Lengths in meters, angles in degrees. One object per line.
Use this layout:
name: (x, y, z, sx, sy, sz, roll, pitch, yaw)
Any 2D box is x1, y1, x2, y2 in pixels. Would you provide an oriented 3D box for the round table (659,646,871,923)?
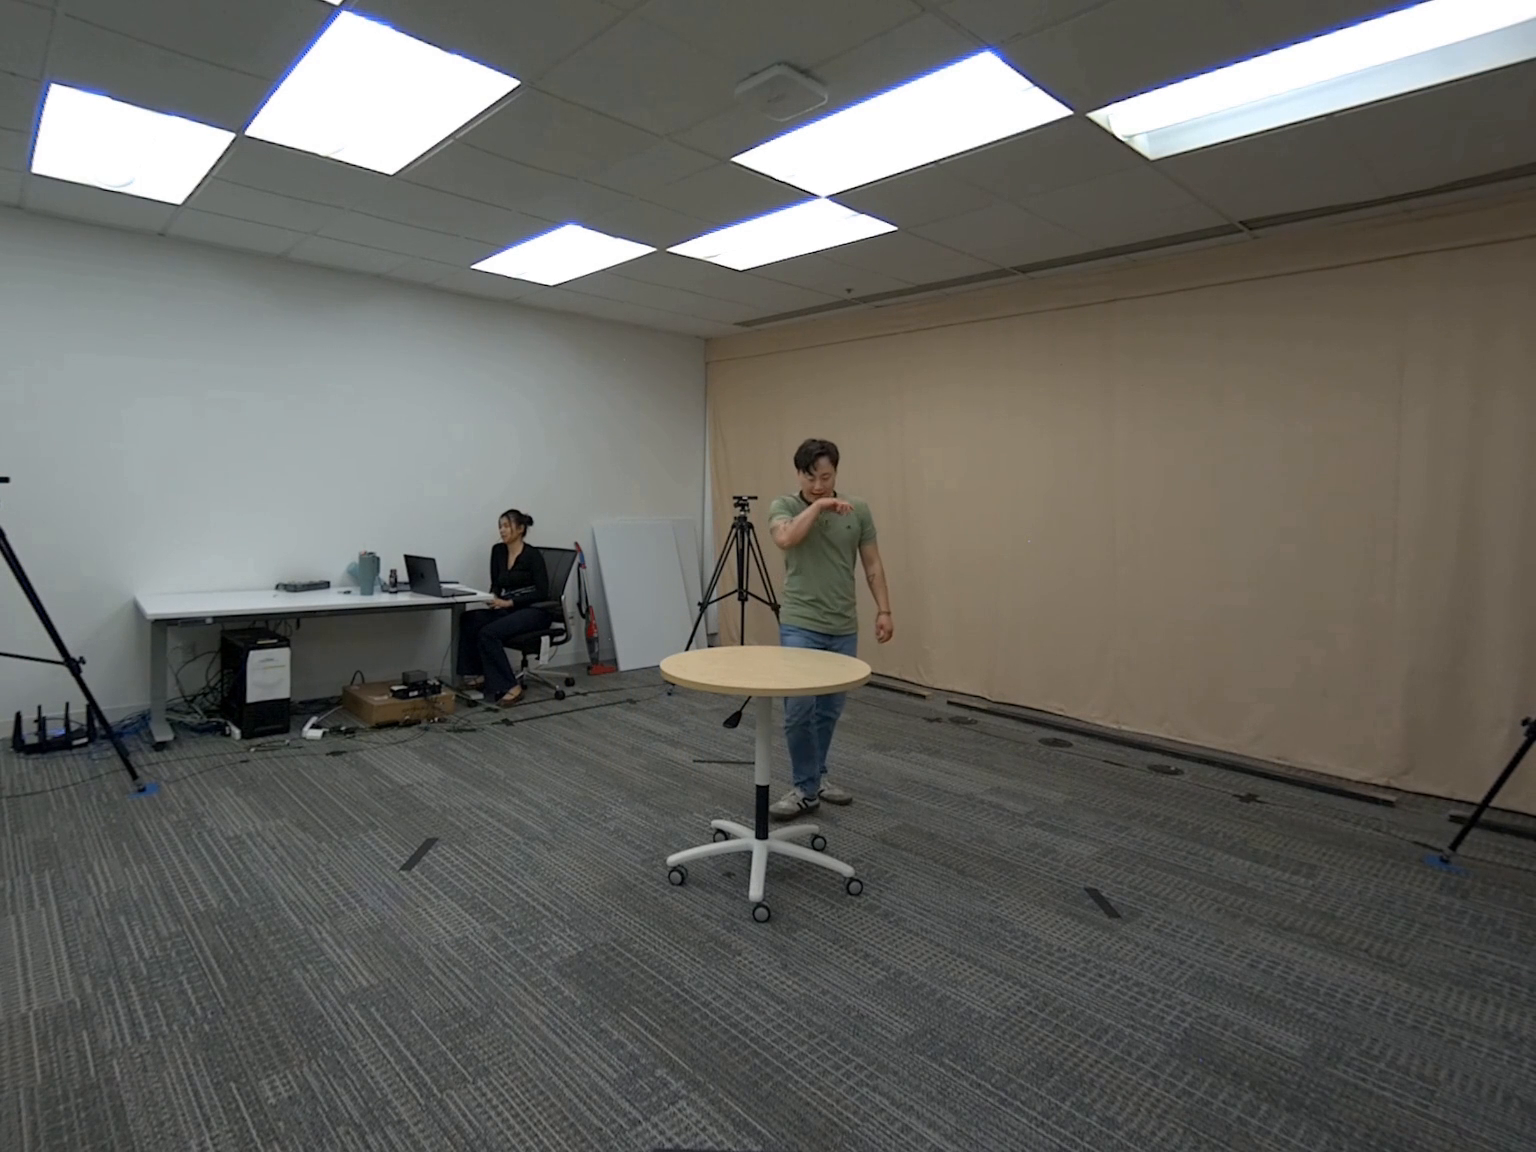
round table: (-0.026, 0.717, 3.082, 0.763, 0.792, 0.766, 1, 4, -1)
